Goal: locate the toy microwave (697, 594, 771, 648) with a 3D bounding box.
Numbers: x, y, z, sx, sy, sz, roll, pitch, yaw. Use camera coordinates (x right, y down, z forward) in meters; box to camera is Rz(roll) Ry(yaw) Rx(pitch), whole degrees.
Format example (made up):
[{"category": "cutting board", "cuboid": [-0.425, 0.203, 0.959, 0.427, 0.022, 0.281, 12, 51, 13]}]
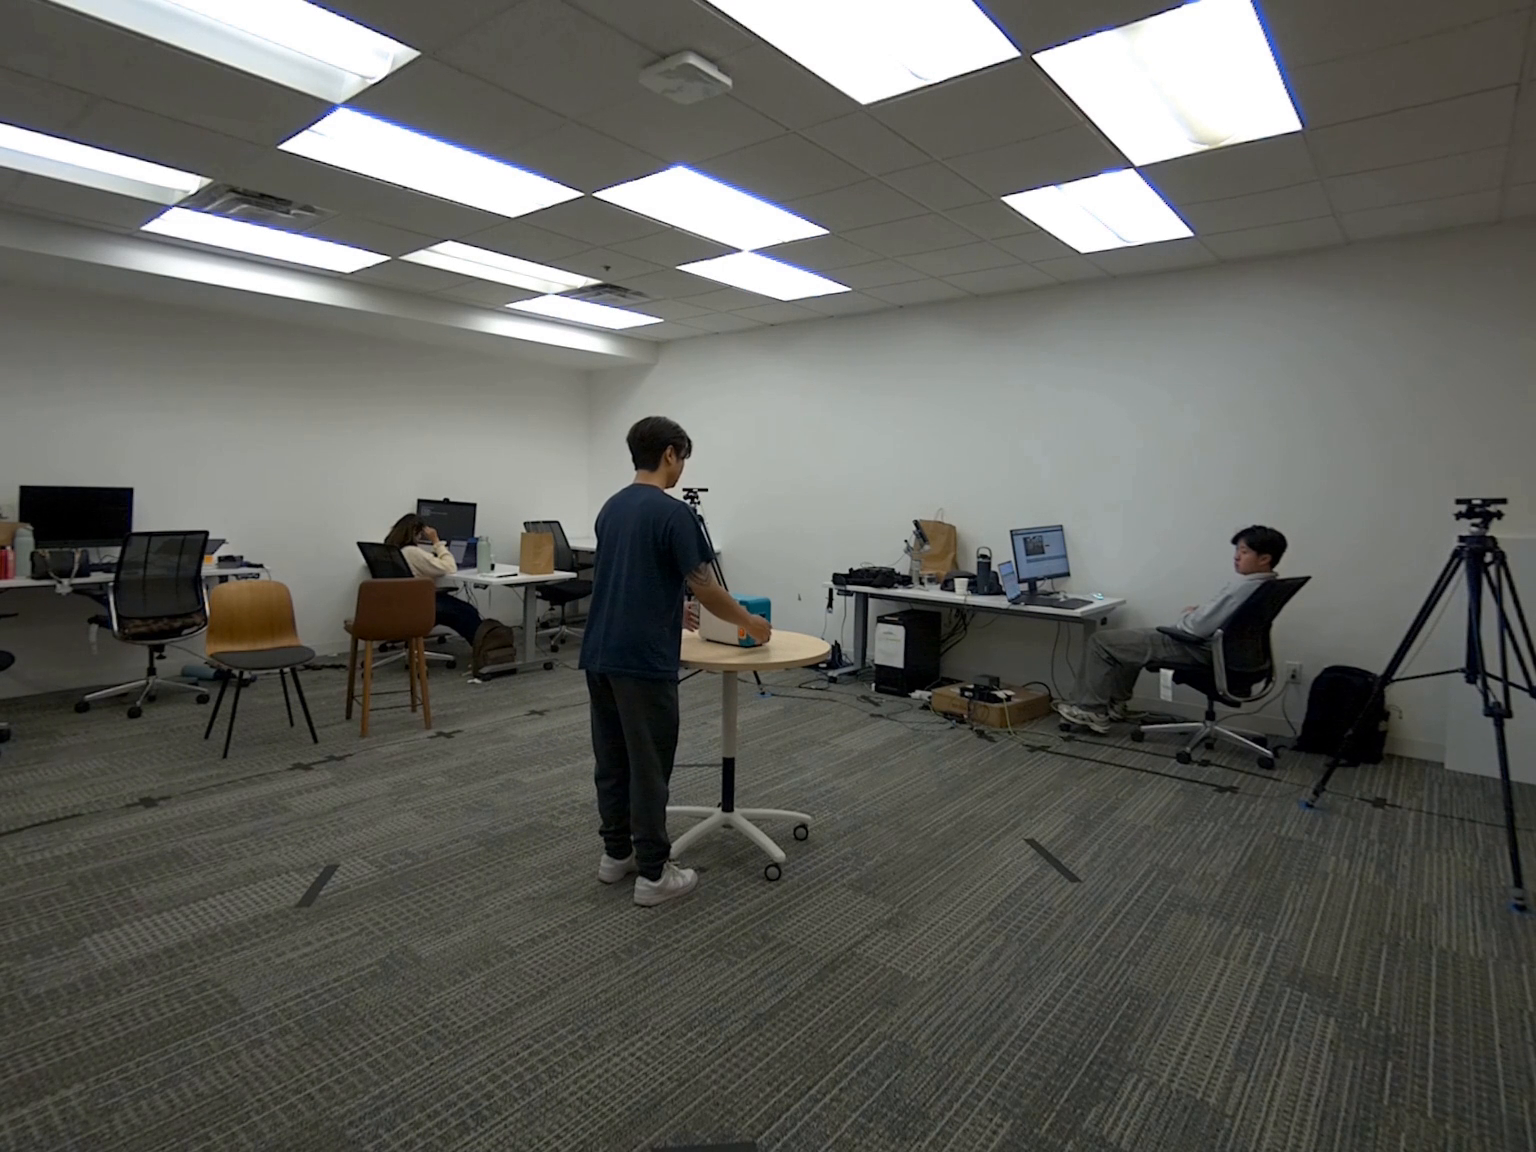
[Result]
[{"category": "toy microwave", "cuboid": [-0.150, 0.165, 3.301, 0.148, 0.183, 0.296, -3, 5, -42]}]
